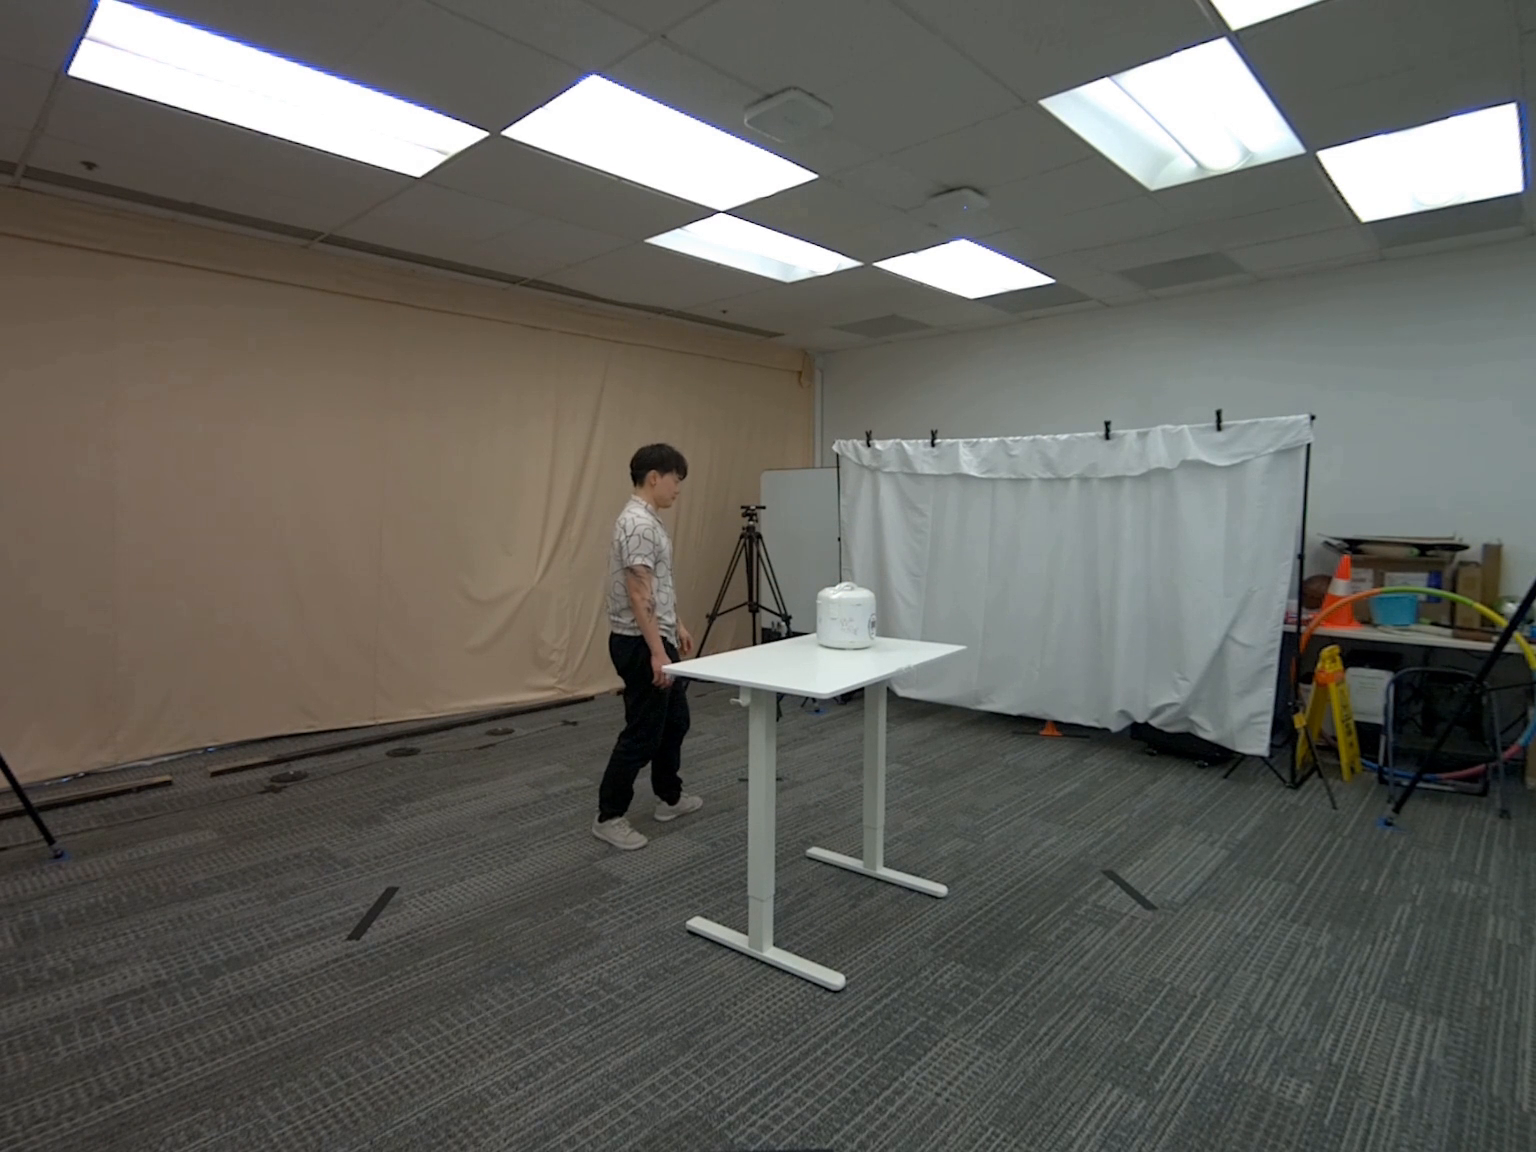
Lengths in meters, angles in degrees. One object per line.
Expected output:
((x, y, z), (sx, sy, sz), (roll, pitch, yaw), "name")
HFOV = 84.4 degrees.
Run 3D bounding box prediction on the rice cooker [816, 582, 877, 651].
((0.290, 0.138, 3.049), (0.224, 0.232, 0.214), (1, 3, 33), "rice cooker")
